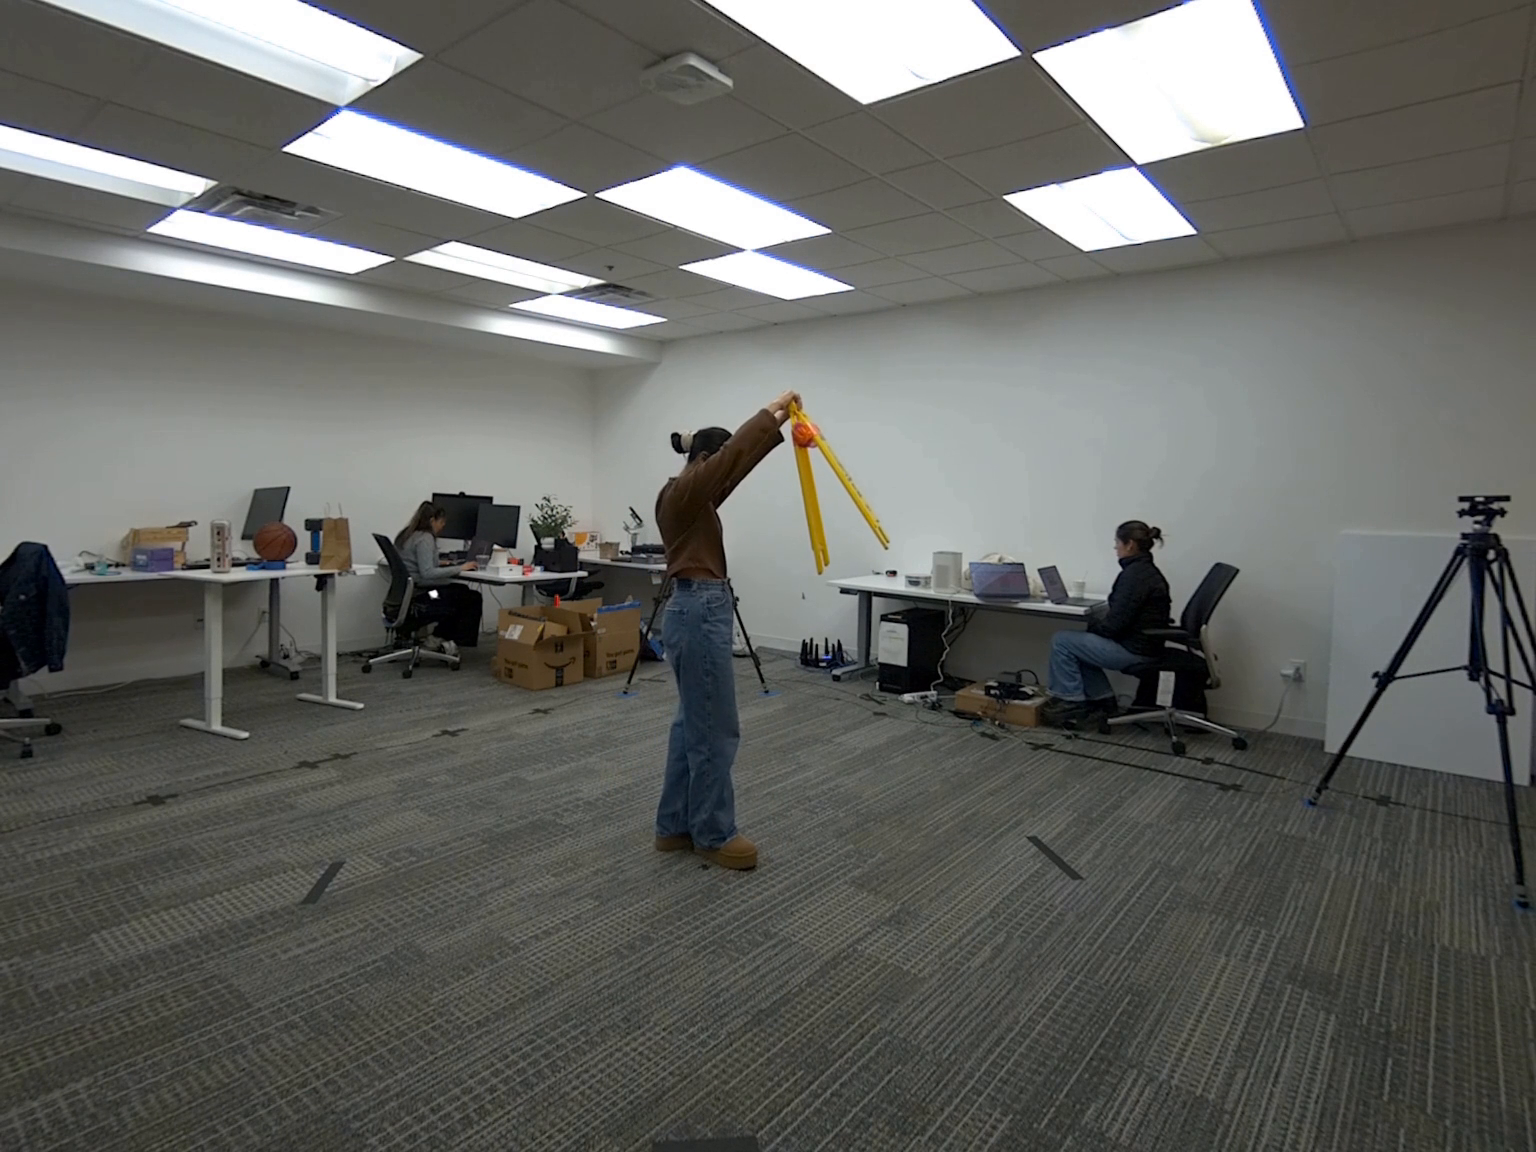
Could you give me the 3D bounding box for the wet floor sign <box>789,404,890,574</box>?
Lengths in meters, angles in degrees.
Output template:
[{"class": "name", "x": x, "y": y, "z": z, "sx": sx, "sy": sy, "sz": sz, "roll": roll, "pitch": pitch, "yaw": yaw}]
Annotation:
[{"class": "wet floor sign", "x": 0.212, "y": -0.364, "z": 3.232, "sx": 0.292, "sy": 0.642, "sz": 0.282, "roll": -20, "pitch": 6, "yaw": 11}]
